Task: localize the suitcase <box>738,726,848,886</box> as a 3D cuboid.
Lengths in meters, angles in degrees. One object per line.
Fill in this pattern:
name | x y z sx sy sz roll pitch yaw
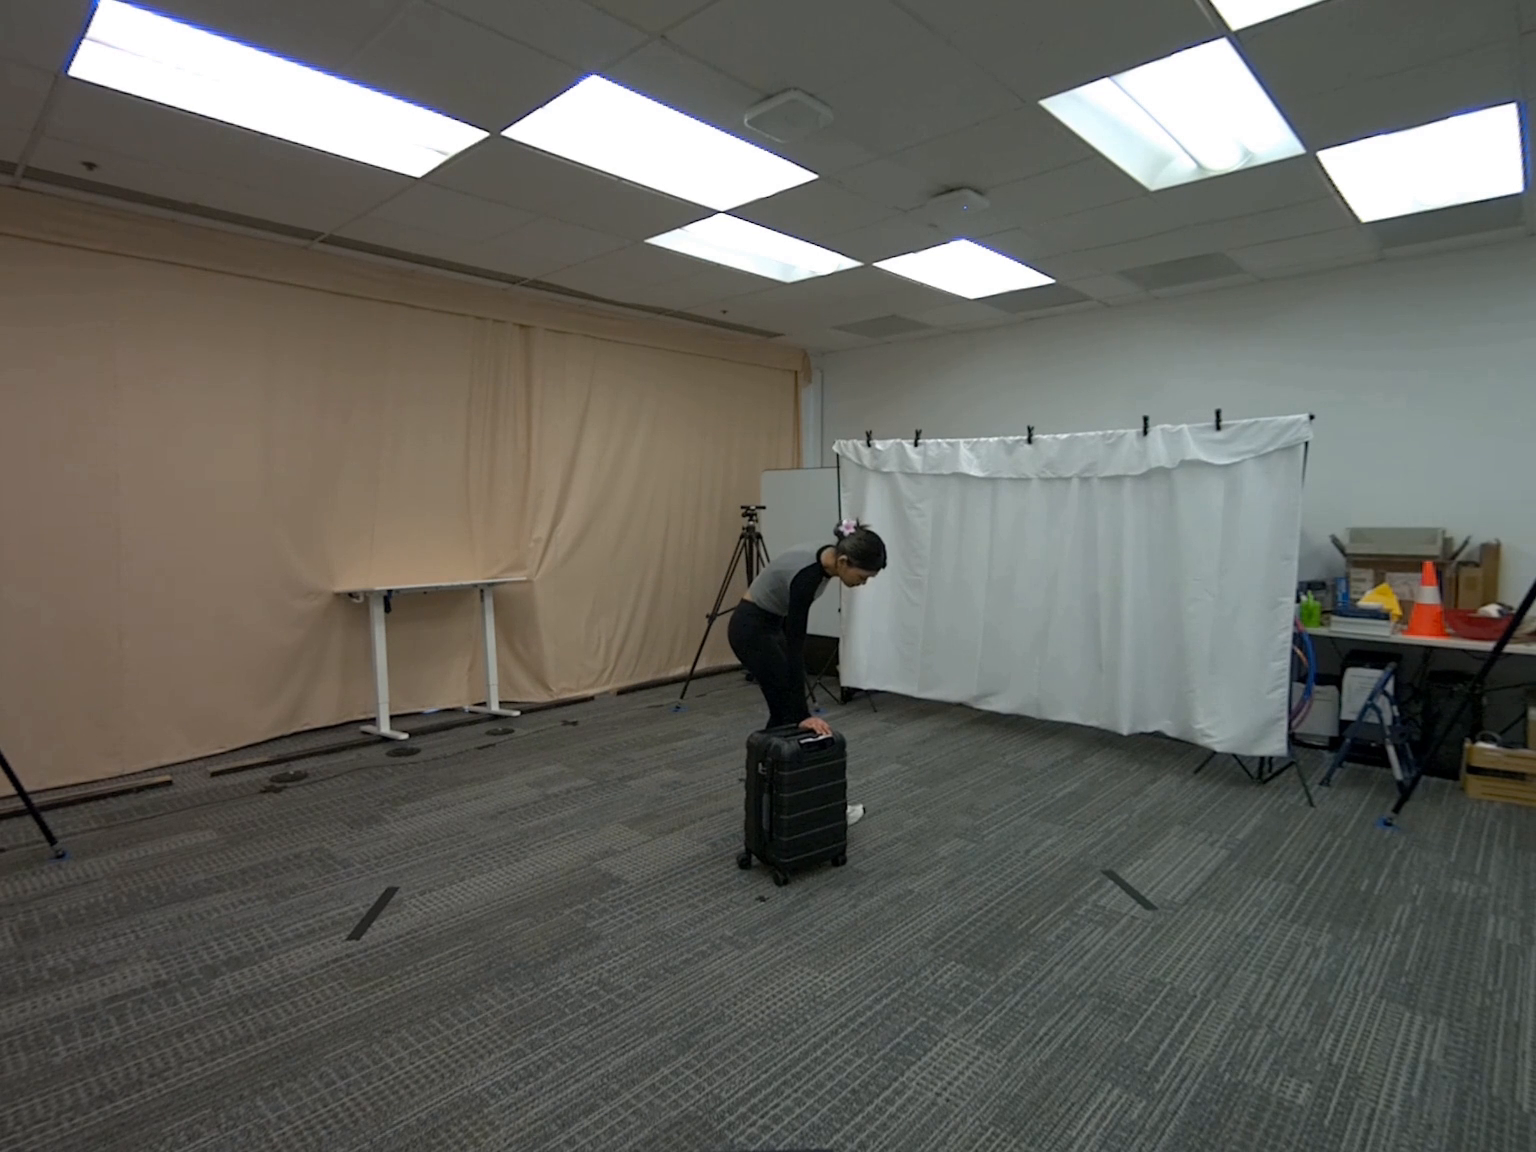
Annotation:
suitcase | 0.106 0.847 3.226 0.364 0.547 0.257 -3 7 -38
